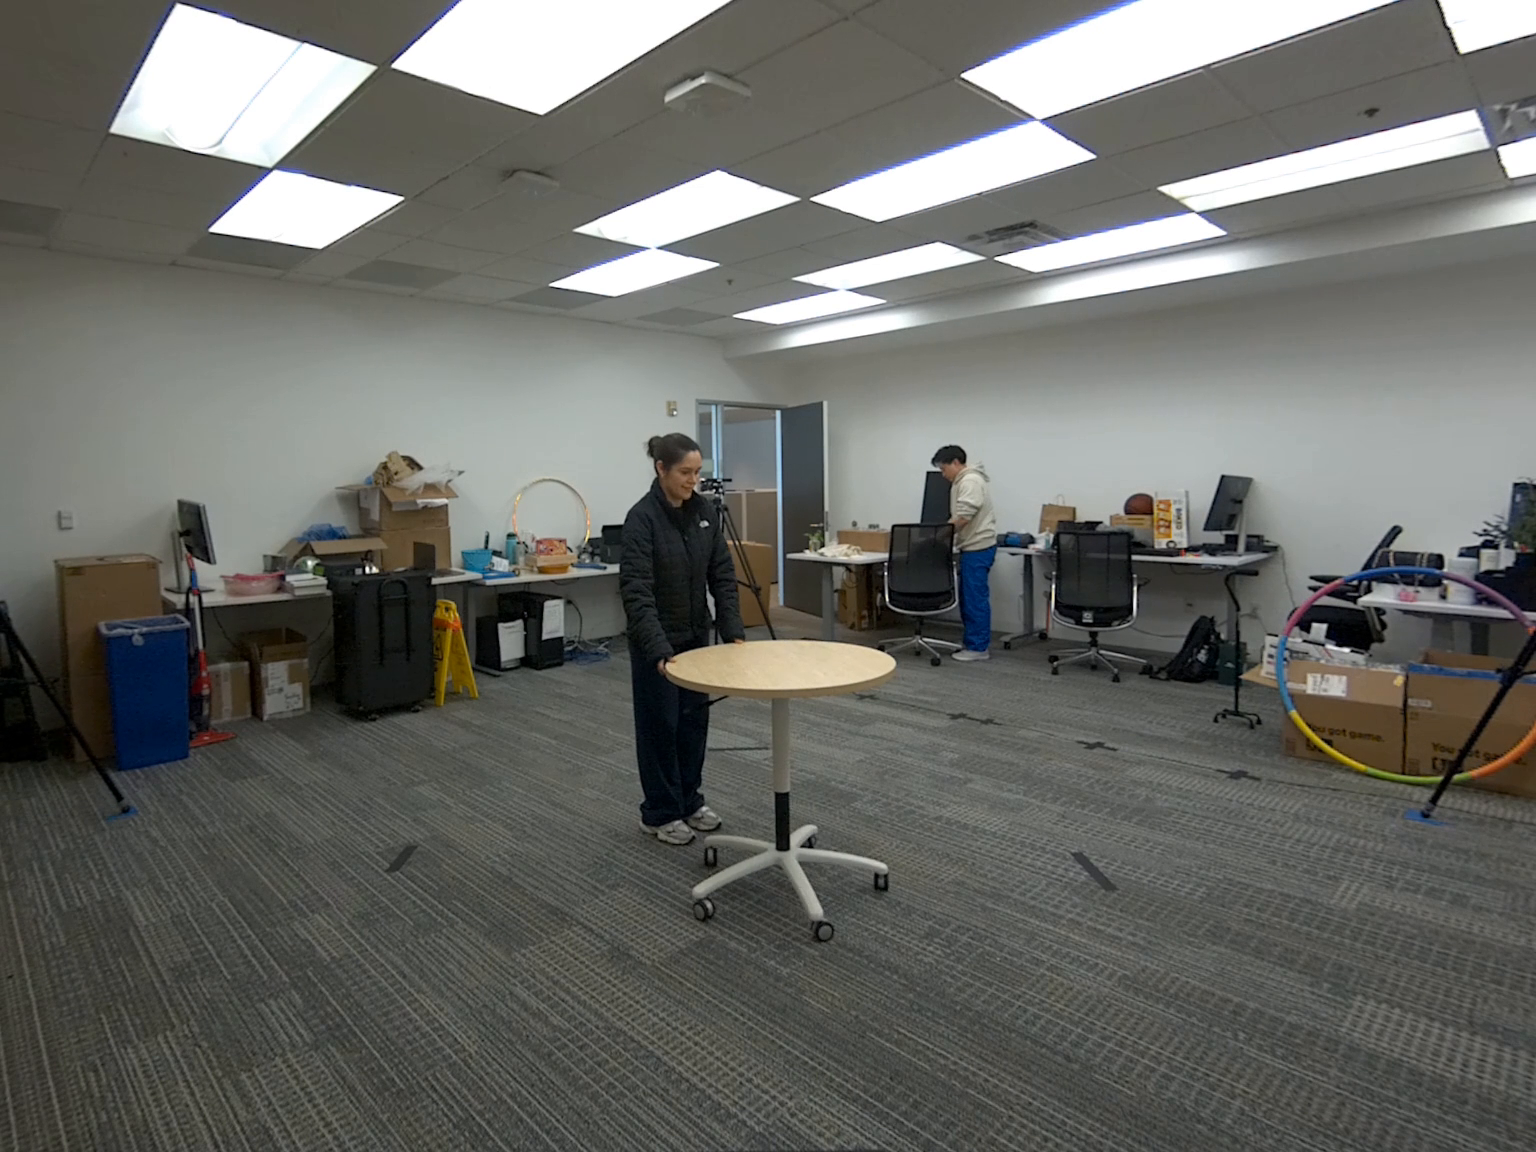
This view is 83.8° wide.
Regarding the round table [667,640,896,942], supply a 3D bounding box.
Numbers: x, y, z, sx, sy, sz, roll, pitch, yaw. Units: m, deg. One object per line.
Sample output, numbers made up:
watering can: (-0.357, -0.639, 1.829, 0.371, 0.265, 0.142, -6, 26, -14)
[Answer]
round table: (0.038, 0.673, 2.913, 0.784, 0.783, 0.789, -1, 5, -2)
